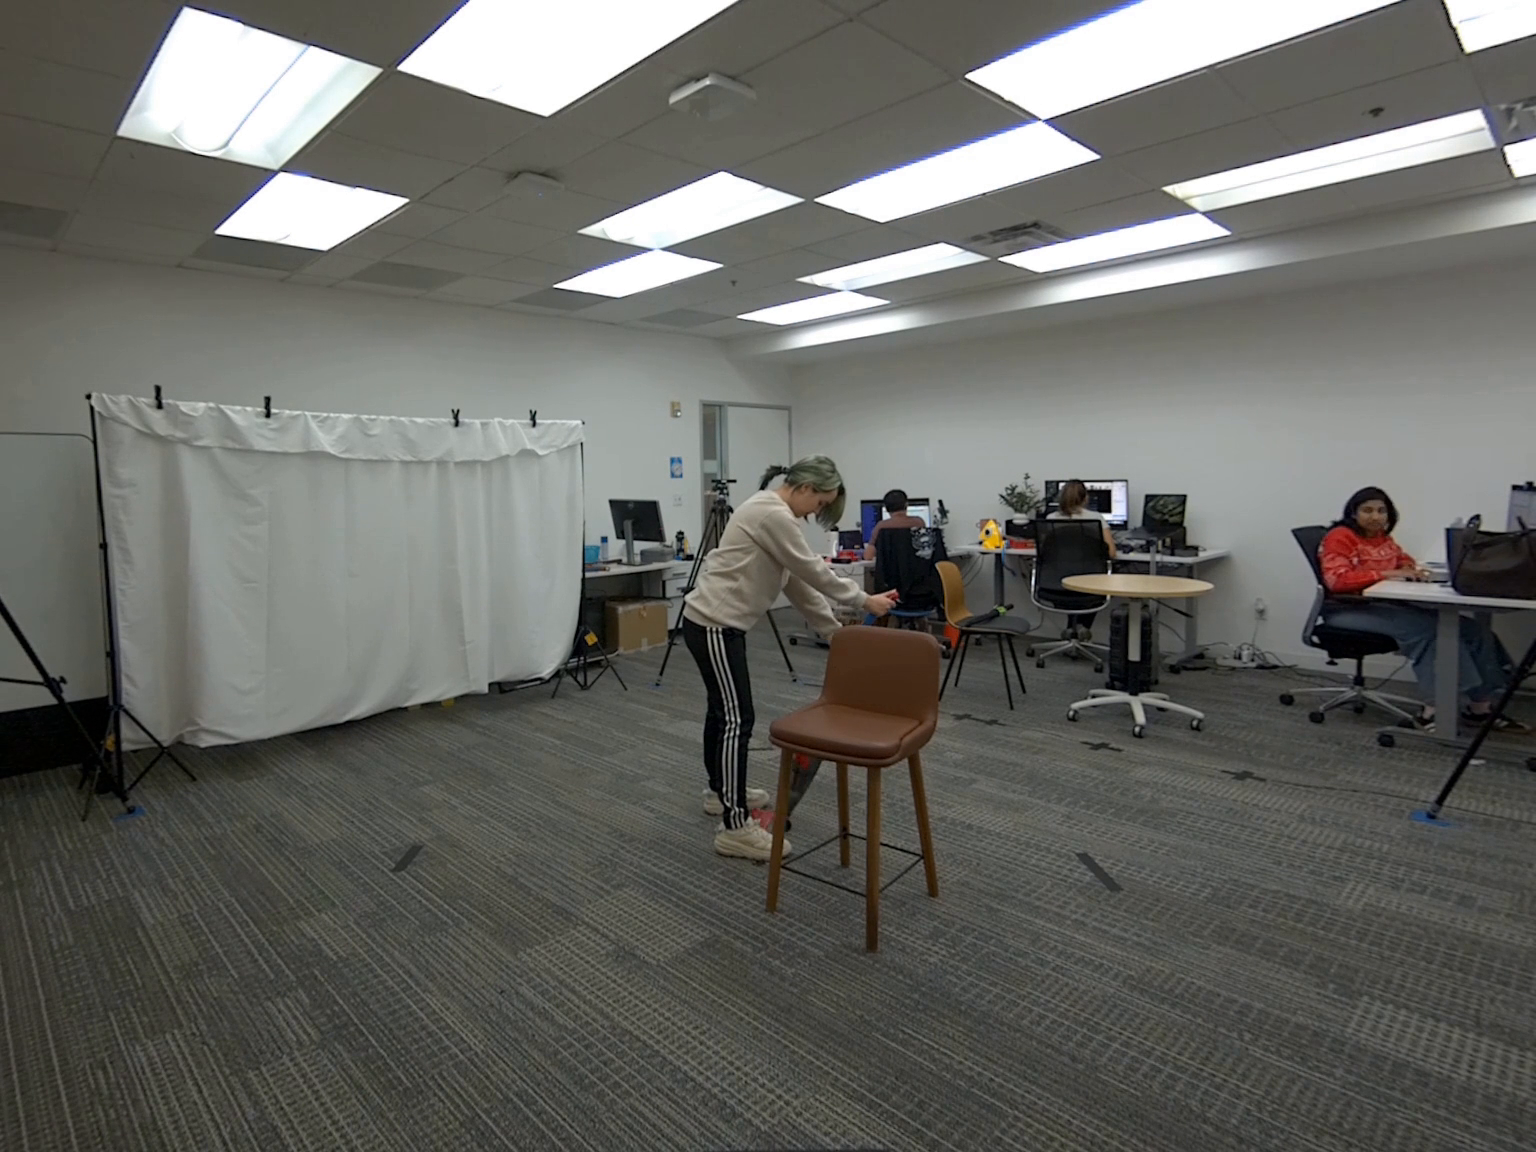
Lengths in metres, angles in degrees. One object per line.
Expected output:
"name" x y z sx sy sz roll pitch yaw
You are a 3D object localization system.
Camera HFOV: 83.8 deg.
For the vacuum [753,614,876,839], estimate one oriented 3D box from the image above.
"vacuum" 0.264 0.544 3.424 0.141 1.049 0.257 29 2 -14
